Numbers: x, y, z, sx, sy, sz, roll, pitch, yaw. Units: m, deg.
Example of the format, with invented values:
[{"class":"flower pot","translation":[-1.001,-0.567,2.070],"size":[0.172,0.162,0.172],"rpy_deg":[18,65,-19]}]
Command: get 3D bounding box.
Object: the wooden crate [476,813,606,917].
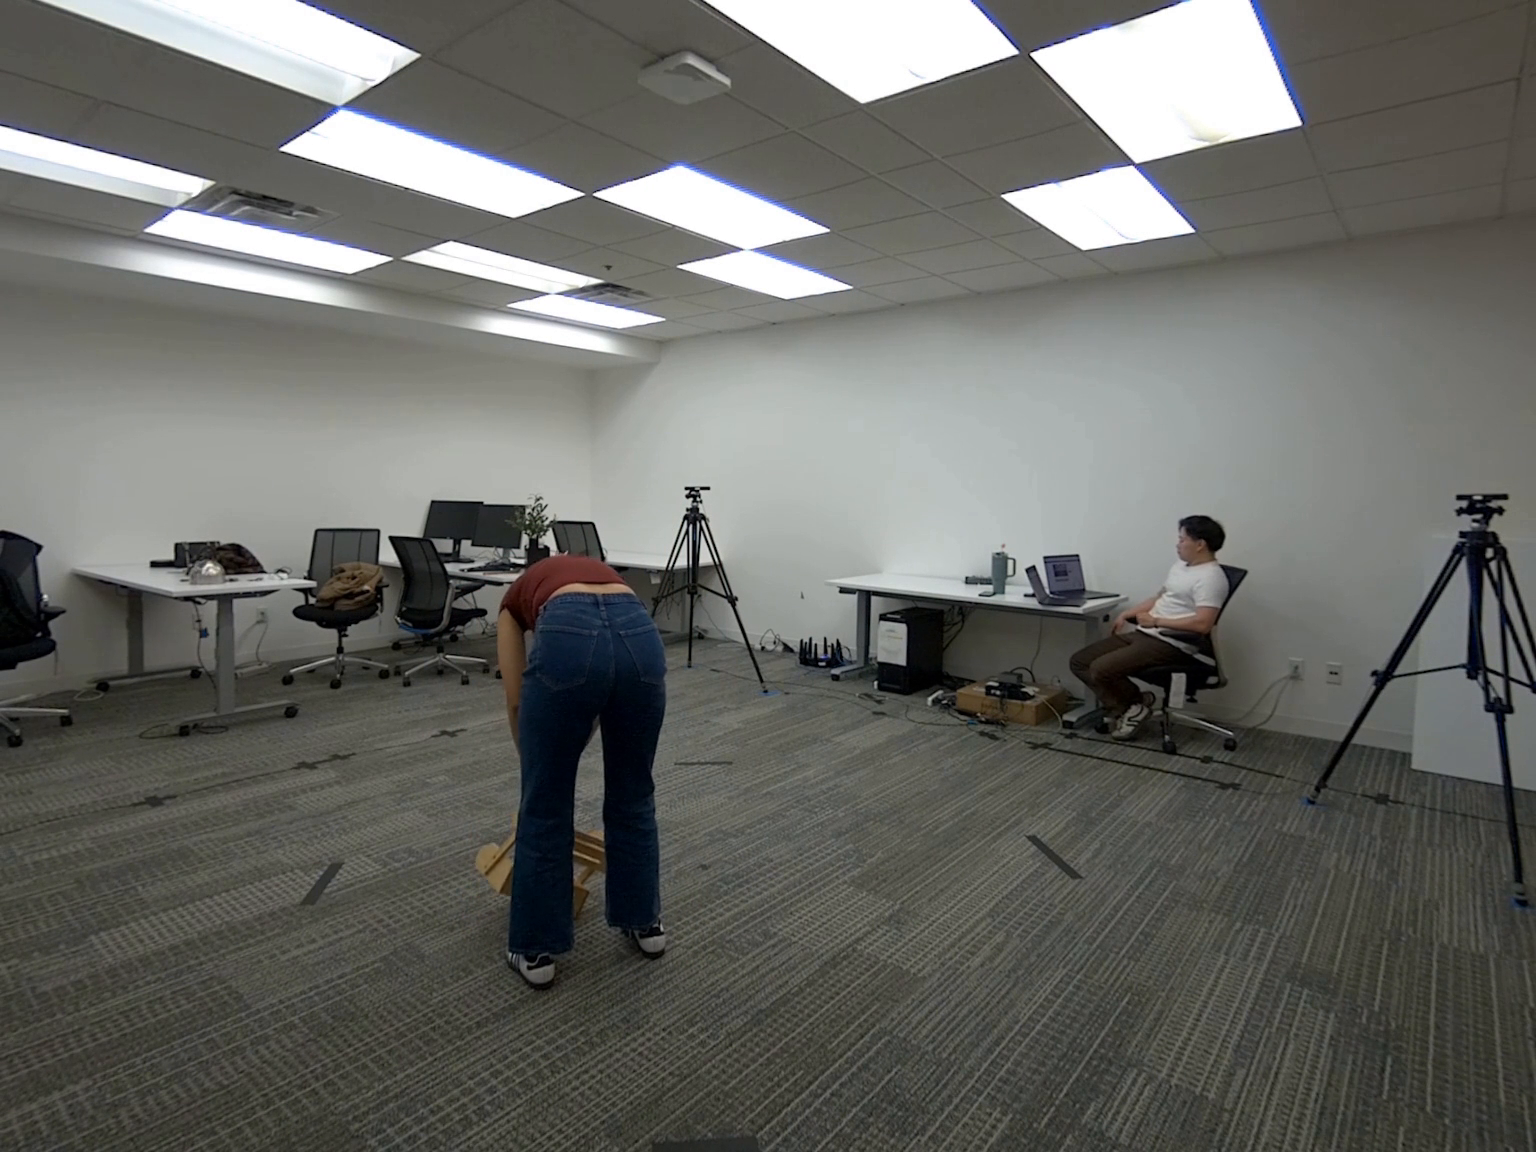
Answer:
[{"class":"wooden crate","translation":[-0.727,0.900,2.766],"size":[0.312,0.275,0.312],"rpy_deg":[35,-15,-33]}]
